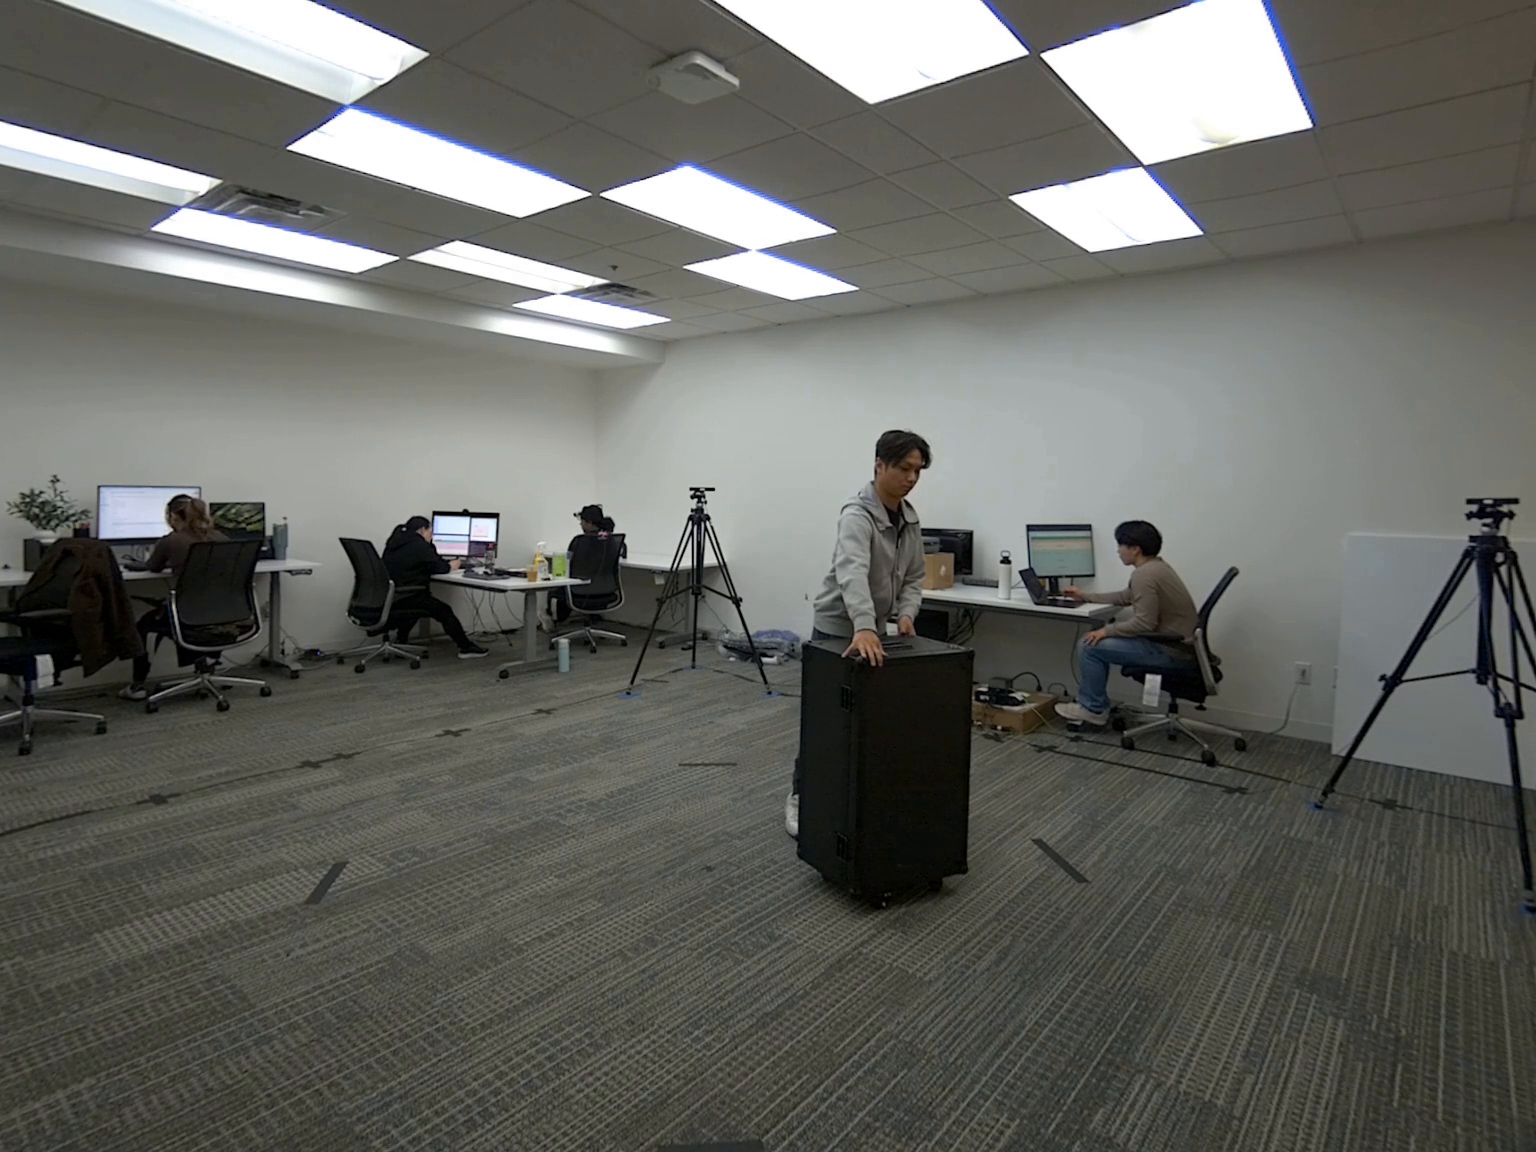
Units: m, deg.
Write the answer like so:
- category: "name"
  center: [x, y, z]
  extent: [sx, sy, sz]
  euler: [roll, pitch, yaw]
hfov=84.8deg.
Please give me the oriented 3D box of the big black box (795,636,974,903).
- category: "big black box"
  center: [0.390, 0.663, 3.008]
  extent: [0.508, 0.860, 0.407]
  euler: [-1, 2, -28]
